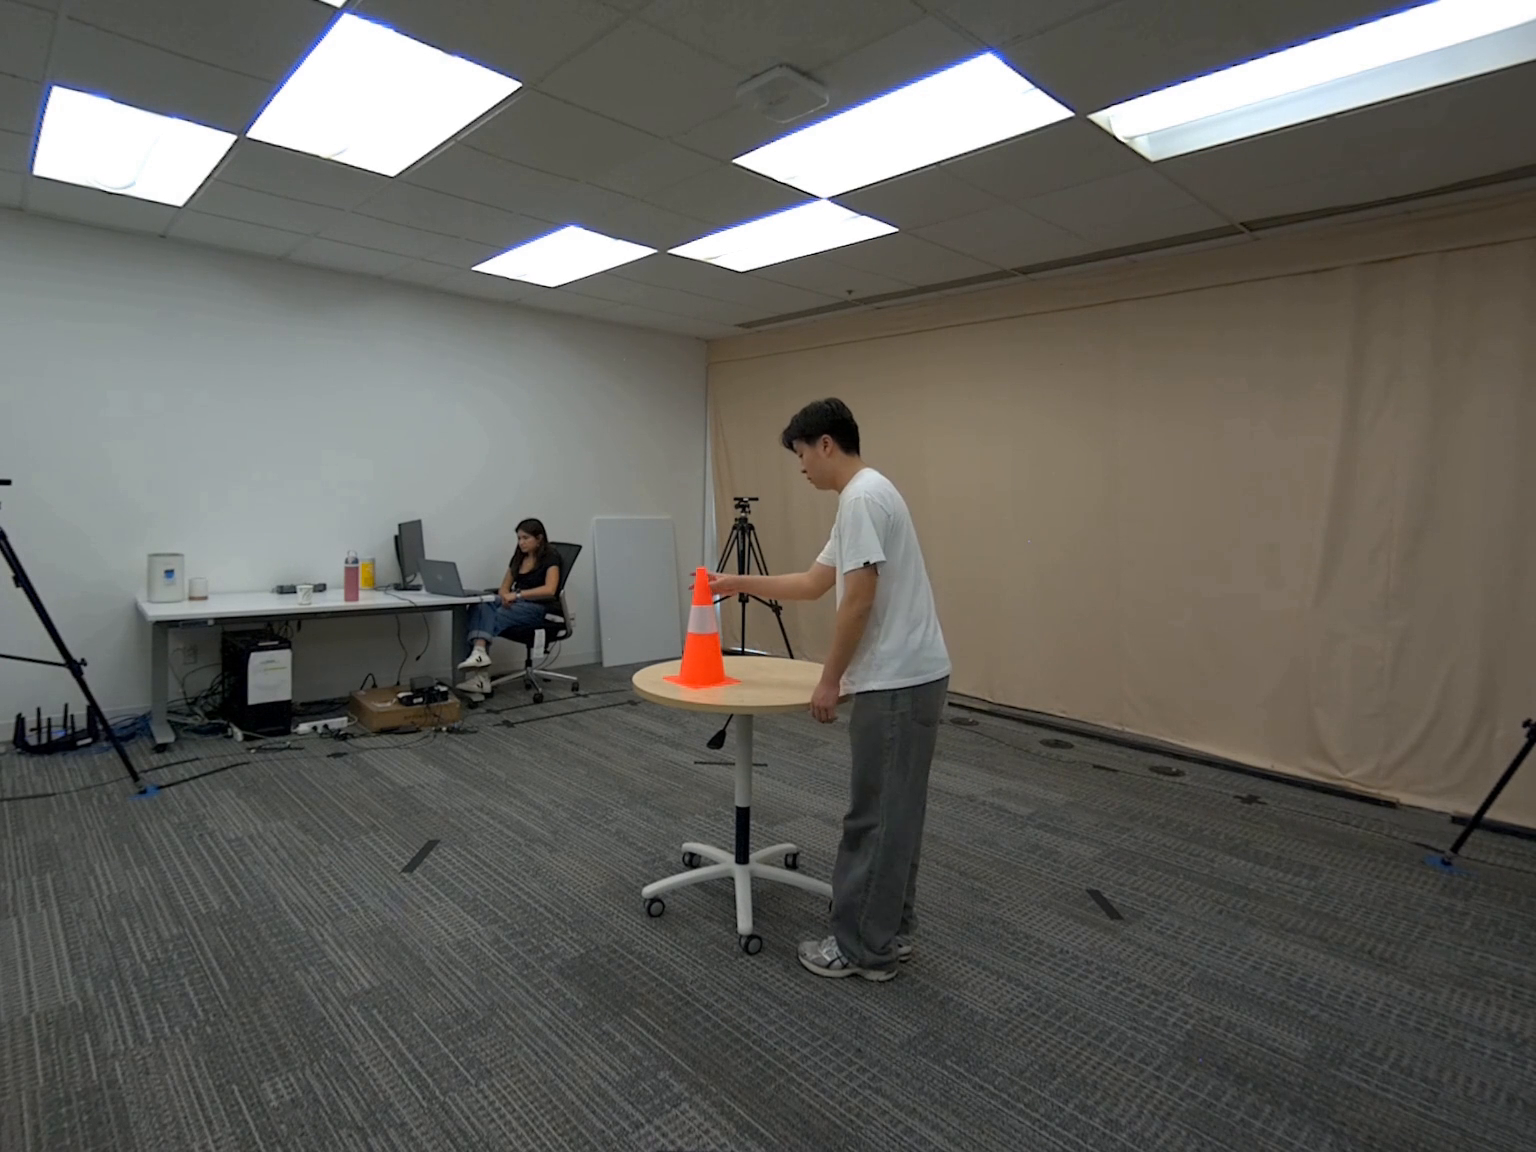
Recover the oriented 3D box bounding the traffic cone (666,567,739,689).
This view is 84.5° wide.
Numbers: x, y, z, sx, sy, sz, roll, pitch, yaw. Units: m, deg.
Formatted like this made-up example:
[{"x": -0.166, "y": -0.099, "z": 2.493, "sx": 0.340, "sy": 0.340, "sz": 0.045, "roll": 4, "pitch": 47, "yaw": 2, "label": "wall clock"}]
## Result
[{"x": -0.219, "y": 0.165, "z": 2.797, "sx": 0.208, "sy": 0.382, "sz": 0.200, "roll": 5, "pitch": 6, "yaw": 42, "label": "traffic cone"}]
